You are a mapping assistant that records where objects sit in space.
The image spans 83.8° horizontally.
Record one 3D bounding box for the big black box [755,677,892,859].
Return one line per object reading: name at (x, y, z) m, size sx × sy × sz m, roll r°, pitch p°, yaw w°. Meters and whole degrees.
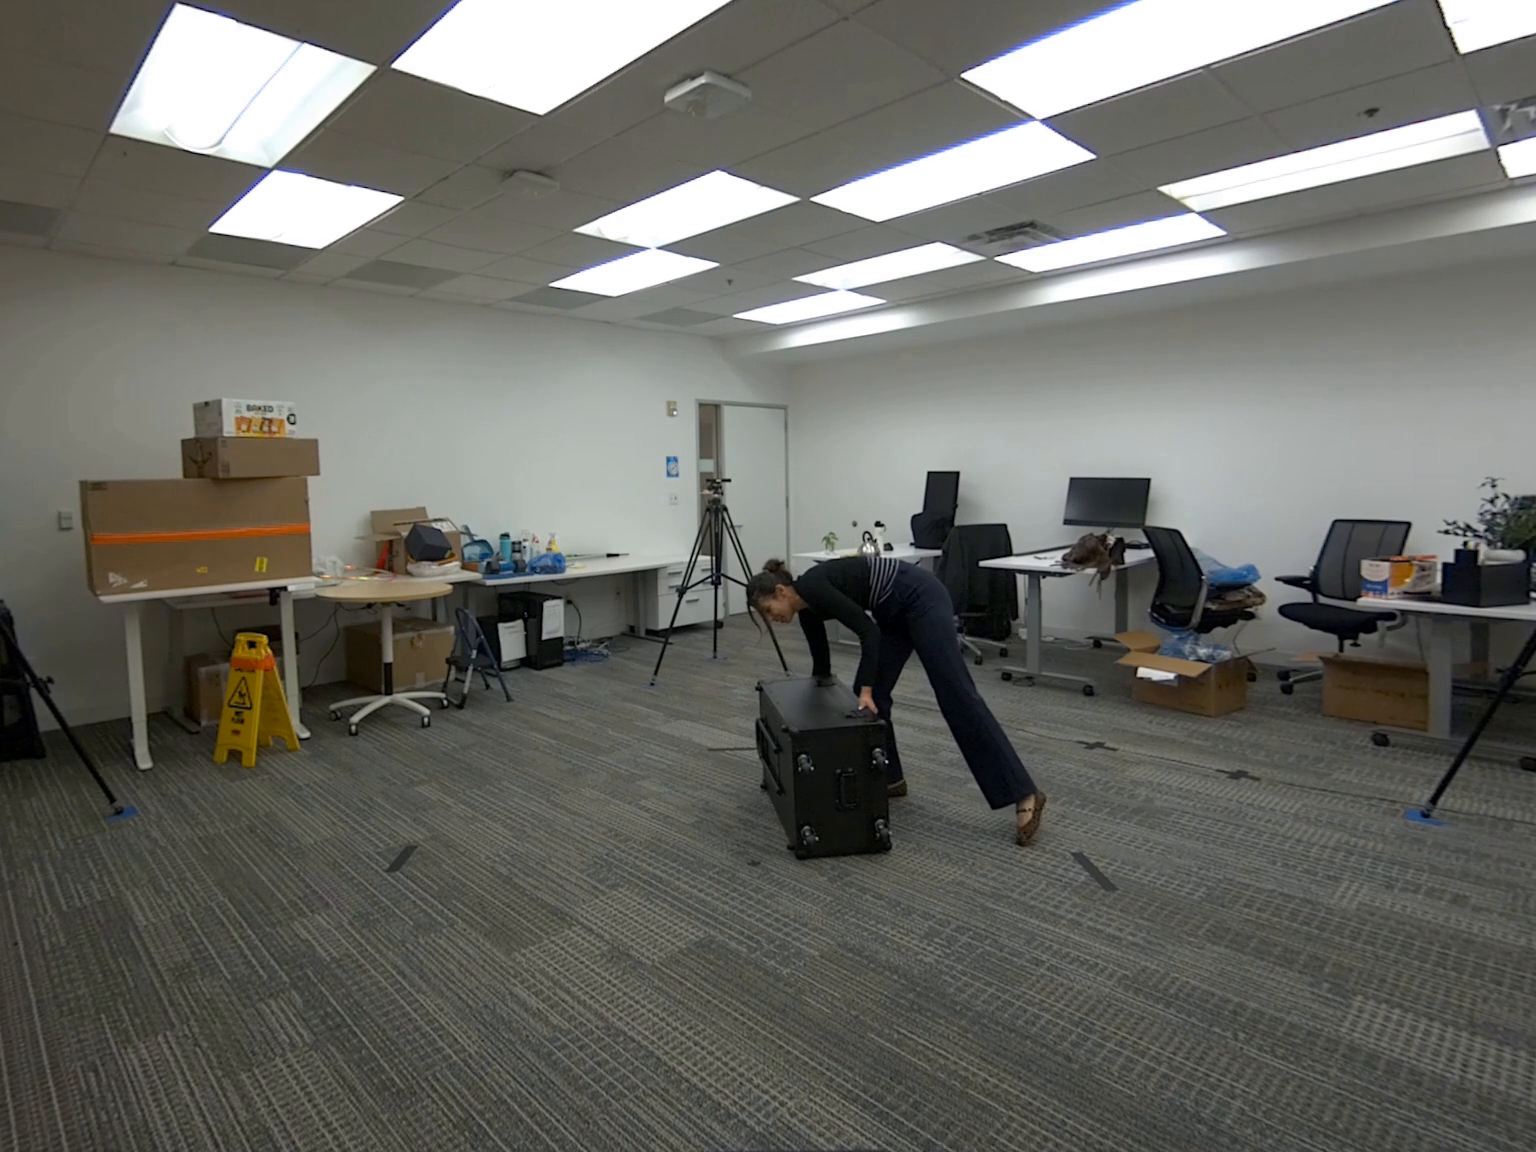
big black box at (0.195, 0.741, 3.473) m, size 0.393 × 0.519 × 0.872 m, roll -5°, pitch 6°, yaw -10°
